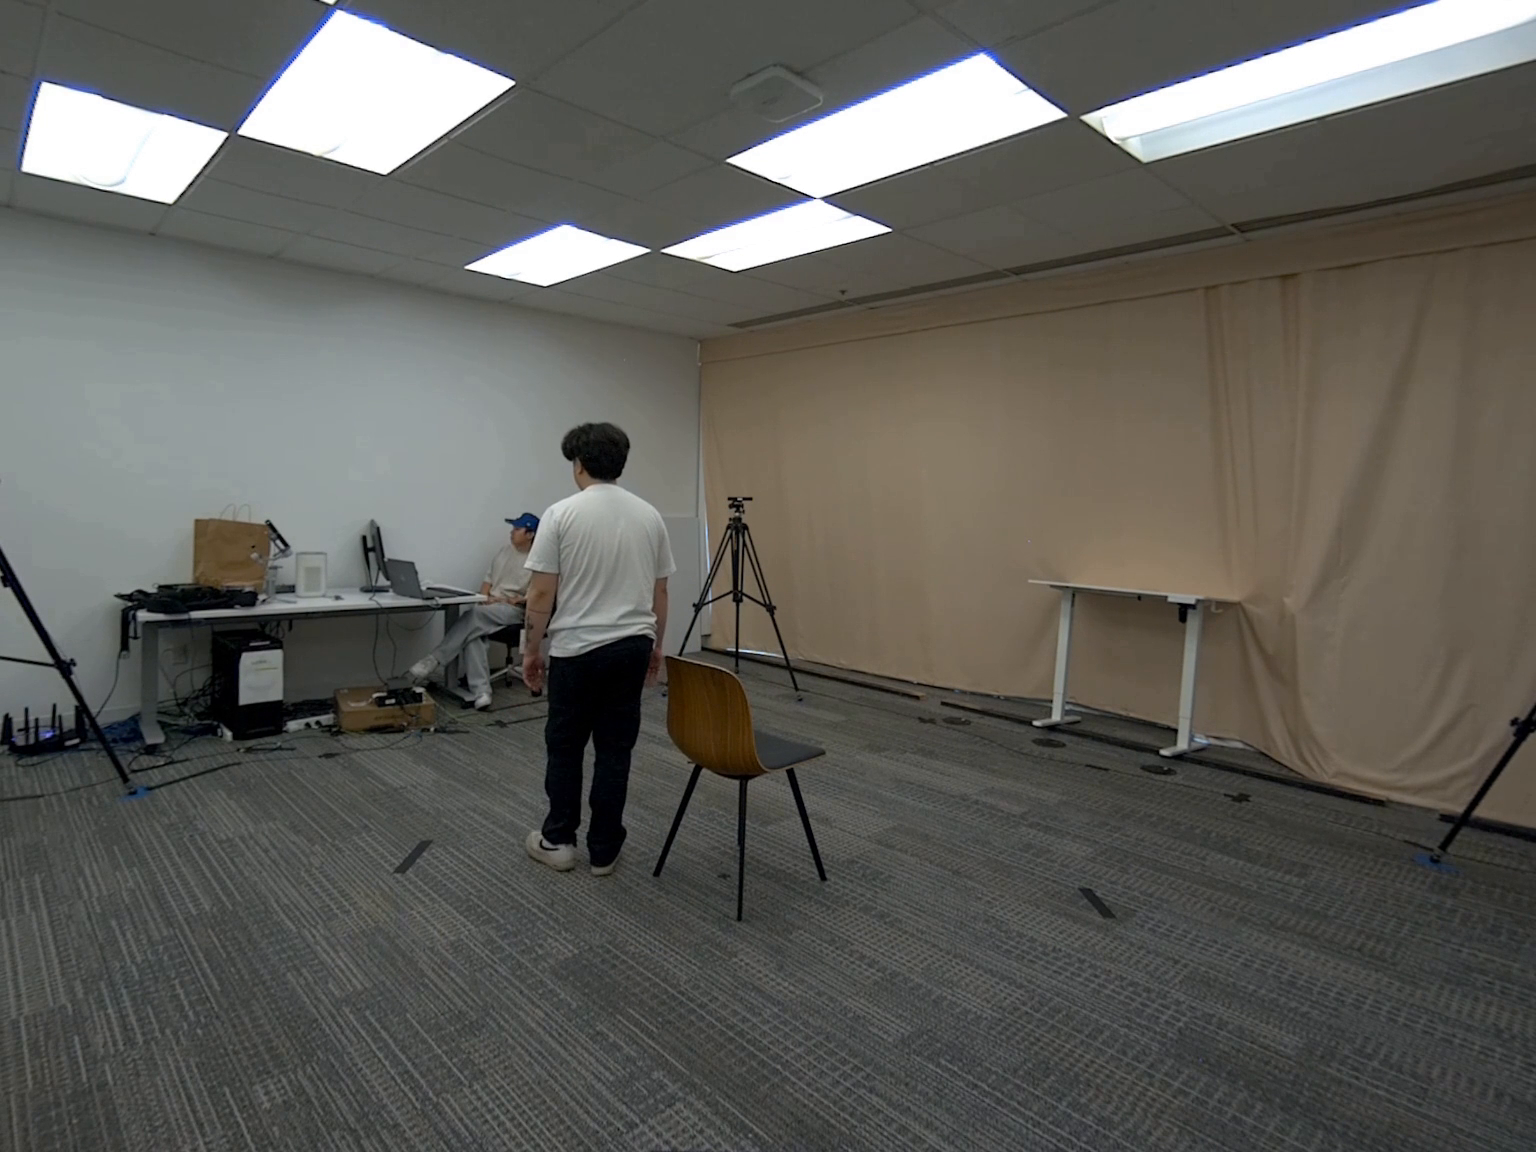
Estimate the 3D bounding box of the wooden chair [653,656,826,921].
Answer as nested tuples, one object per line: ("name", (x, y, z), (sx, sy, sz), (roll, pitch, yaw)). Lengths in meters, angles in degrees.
("wooden chair", (-0.089, 0.688, 3.061), (0.490, 0.873, 0.512), (4, 9, 44))
